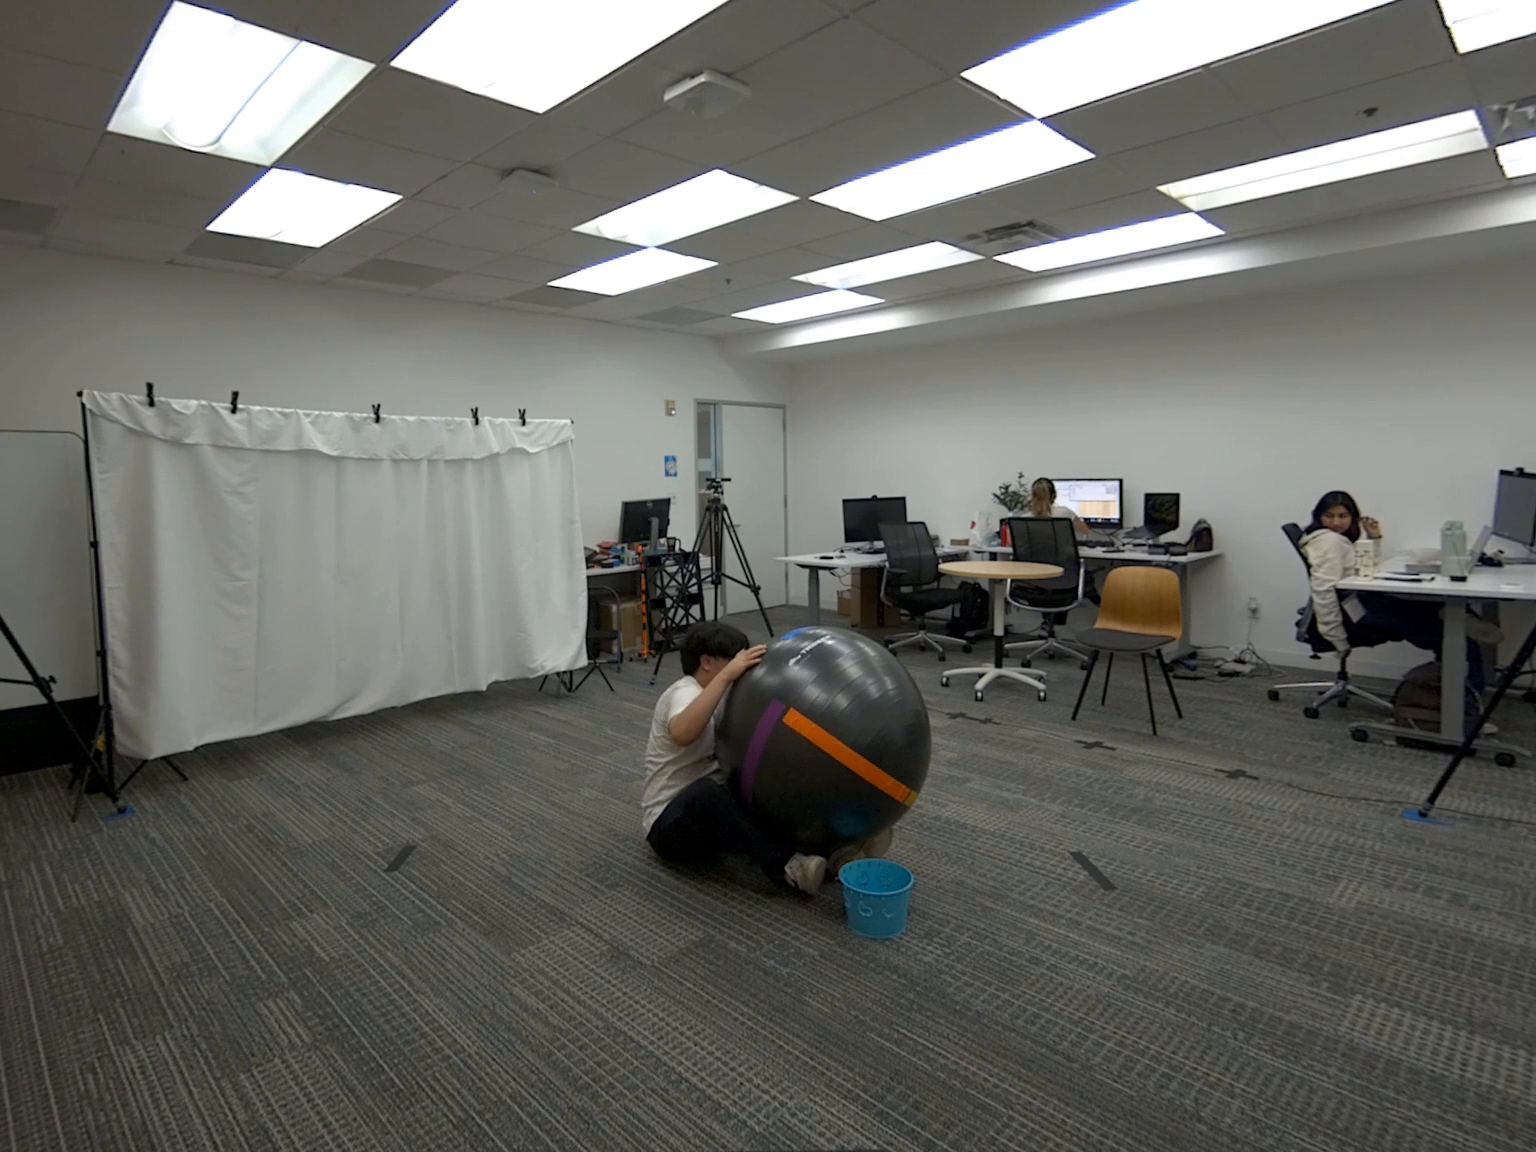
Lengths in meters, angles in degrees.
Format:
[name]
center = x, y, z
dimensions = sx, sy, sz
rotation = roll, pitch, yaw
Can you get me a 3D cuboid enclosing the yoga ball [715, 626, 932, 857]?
[yoga ball]
center = 0.192, 0.557, 3.018
dimensions = 0.757, 0.755, 0.762
rotation = -1, 5, -2
